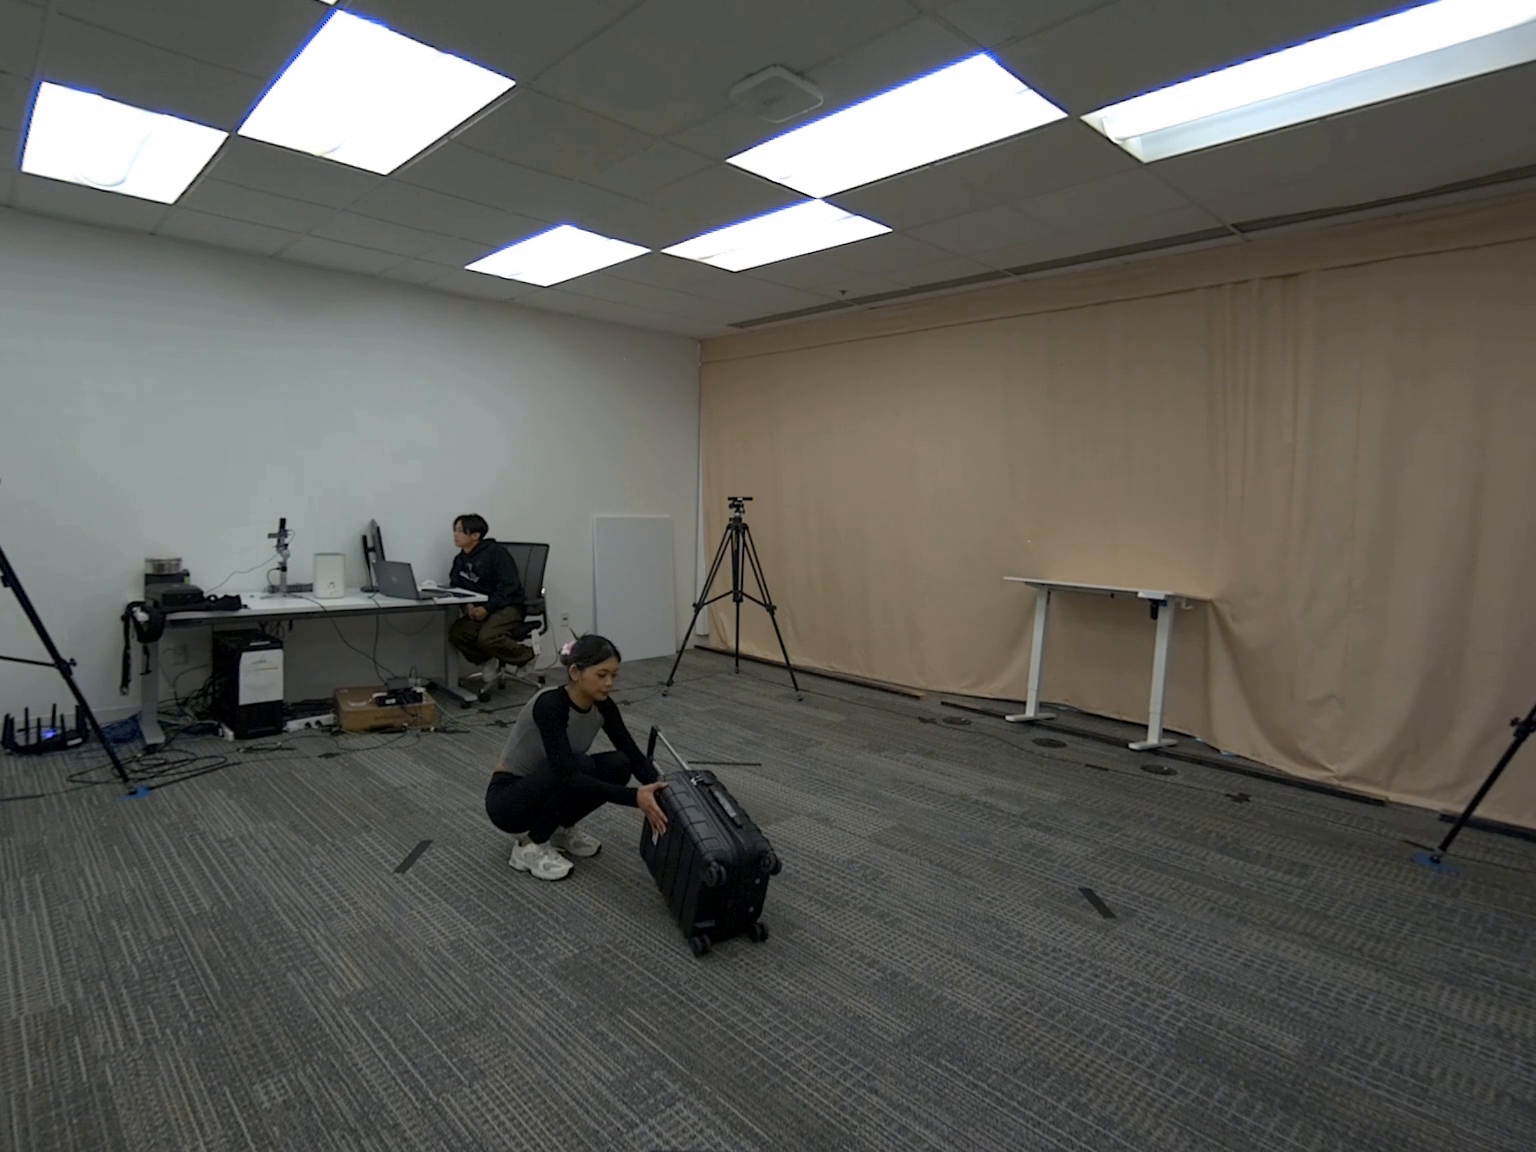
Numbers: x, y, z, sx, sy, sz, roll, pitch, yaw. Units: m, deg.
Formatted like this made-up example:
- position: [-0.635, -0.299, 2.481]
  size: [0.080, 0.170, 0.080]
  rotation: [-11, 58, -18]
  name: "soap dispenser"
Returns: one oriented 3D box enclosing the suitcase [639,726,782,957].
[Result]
- position: [-0.327, 0.845, 2.935]
  size: [0.252, 0.380, 1.008]
  rotation: [-2, 20, -31]
  name: "suitcase"
